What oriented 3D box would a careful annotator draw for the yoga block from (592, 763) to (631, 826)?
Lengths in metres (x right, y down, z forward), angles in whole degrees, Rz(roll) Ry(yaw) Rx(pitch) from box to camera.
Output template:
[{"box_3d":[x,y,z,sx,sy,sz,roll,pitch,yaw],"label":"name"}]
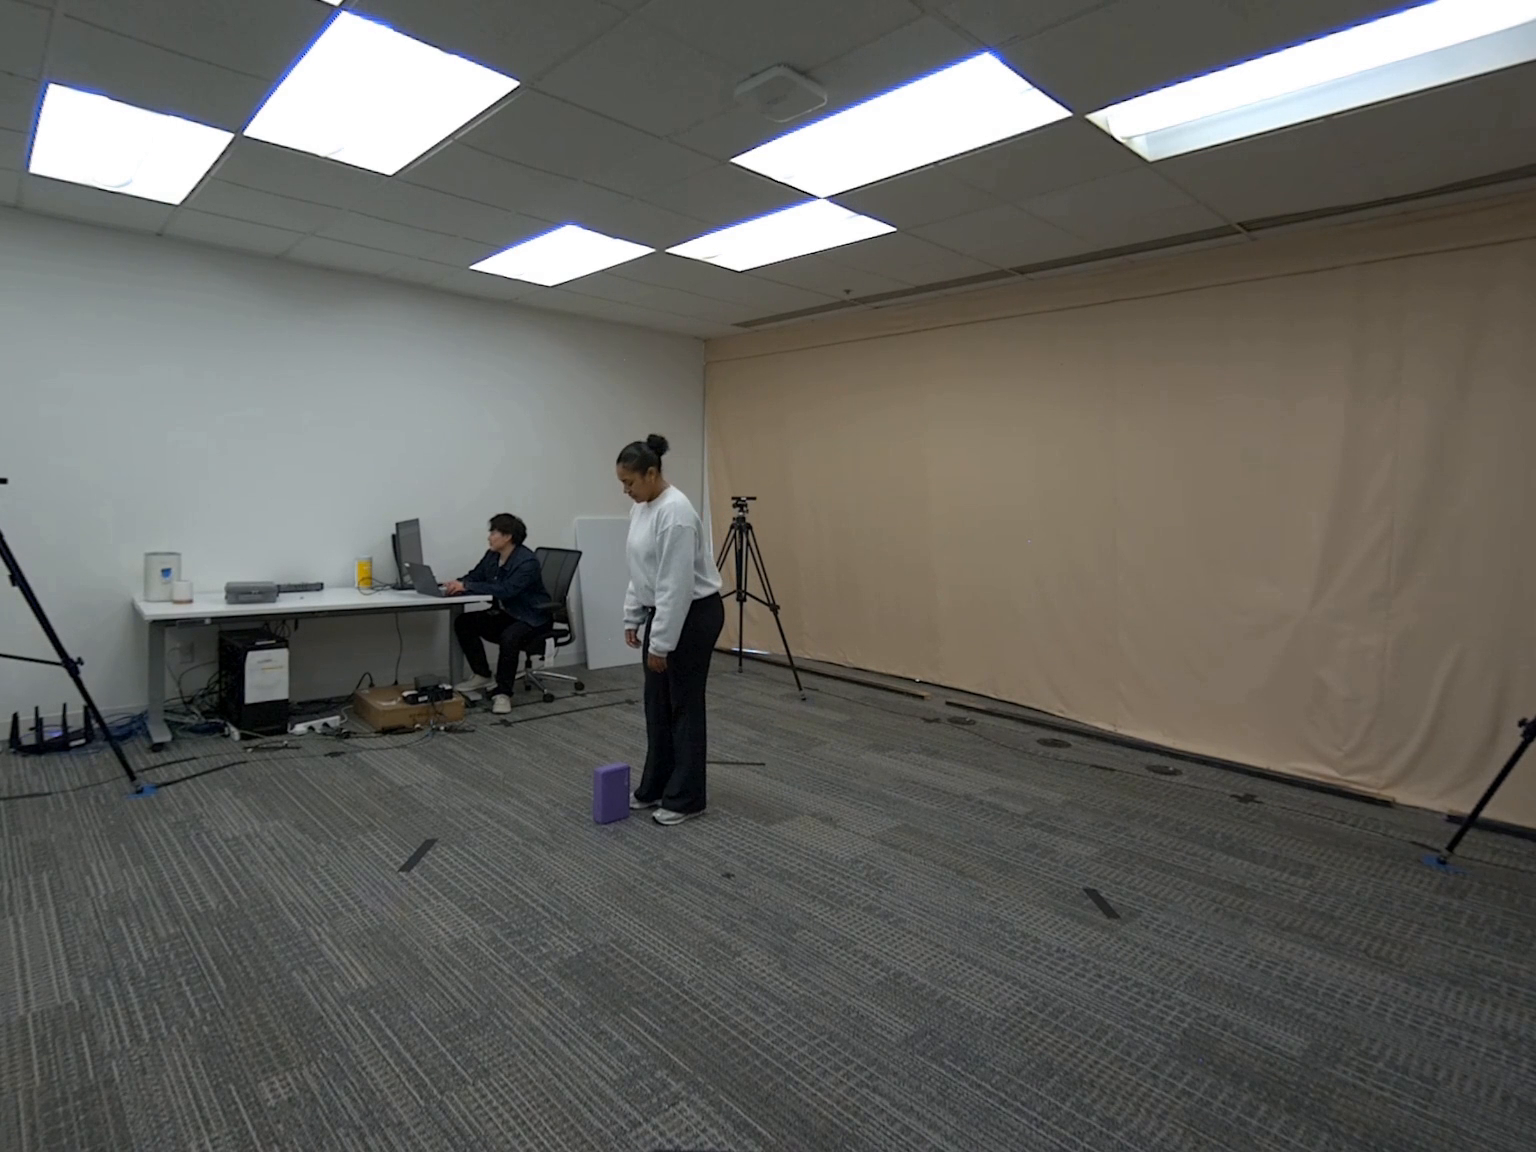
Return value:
[{"box_3d":[-0.680,0.930,3.619,0.078,0.228,0.145,6,6,45],"label":"yoga block"}]
